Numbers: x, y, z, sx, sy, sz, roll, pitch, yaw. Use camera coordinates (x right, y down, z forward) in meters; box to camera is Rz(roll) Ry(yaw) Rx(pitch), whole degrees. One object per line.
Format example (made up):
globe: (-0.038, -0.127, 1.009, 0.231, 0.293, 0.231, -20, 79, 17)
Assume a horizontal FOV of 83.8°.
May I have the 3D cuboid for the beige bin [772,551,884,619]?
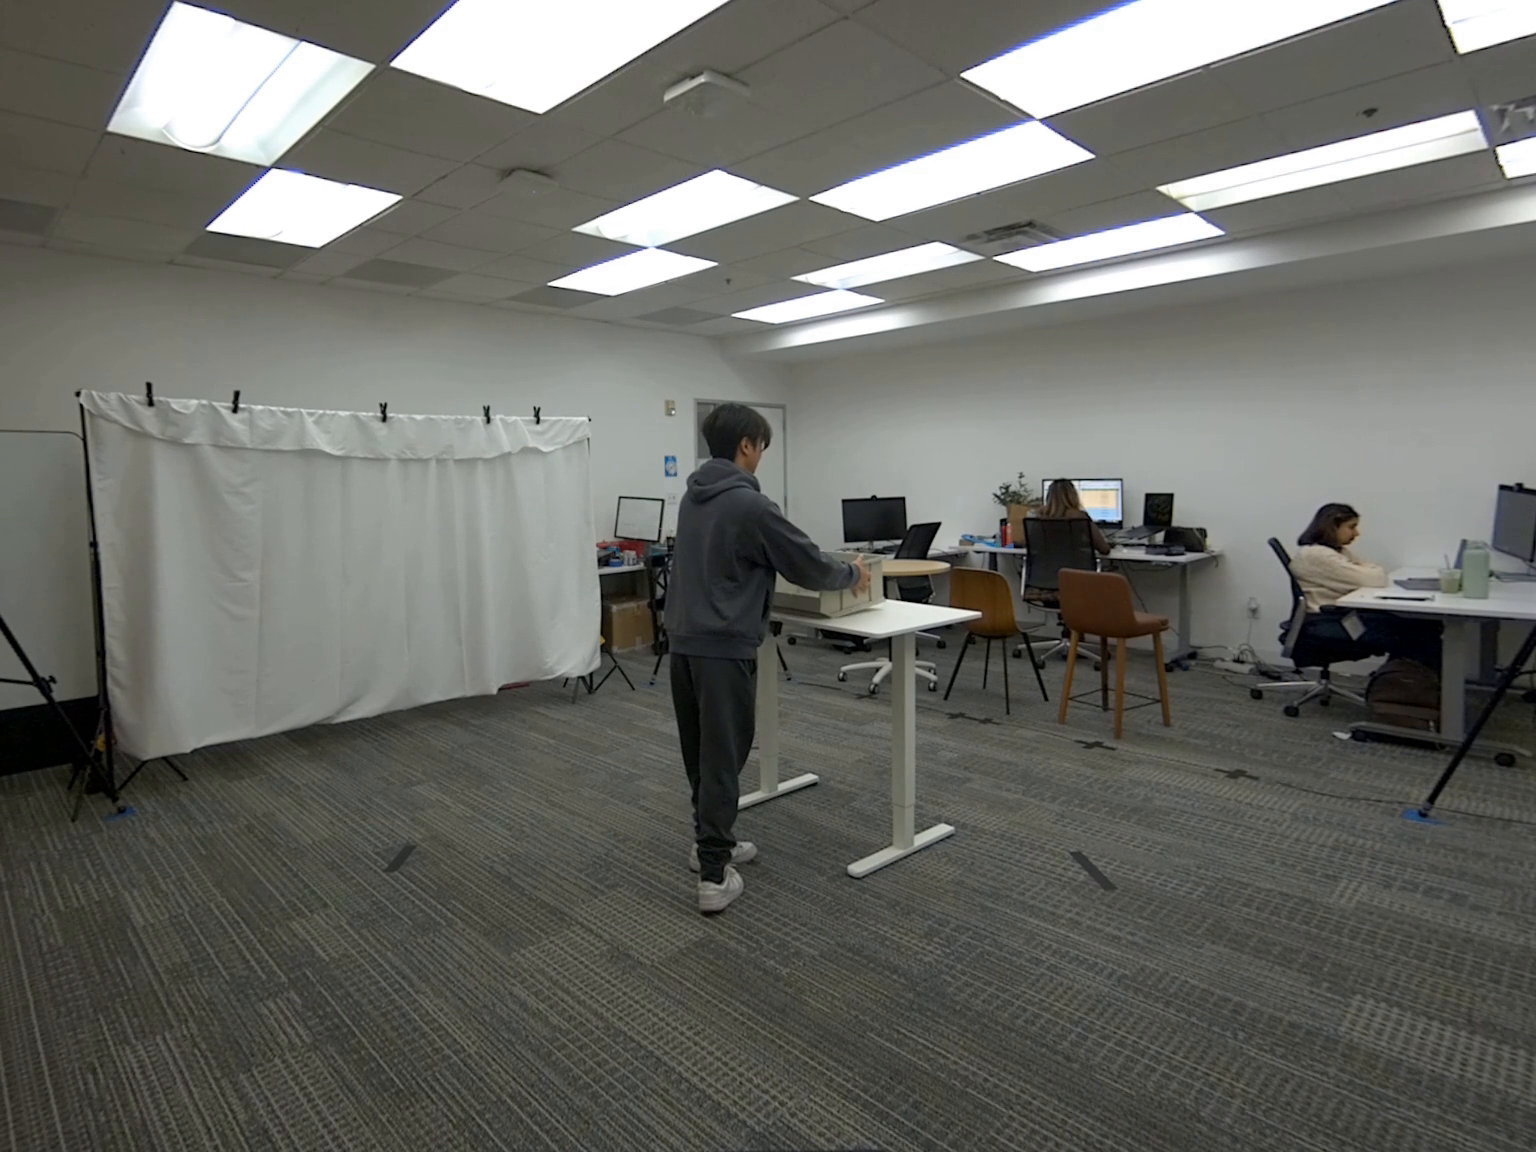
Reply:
beige bin: (0.189, 0.033, 3.338, 0.368, 0.188, 0.435, -11, 11, -41)
